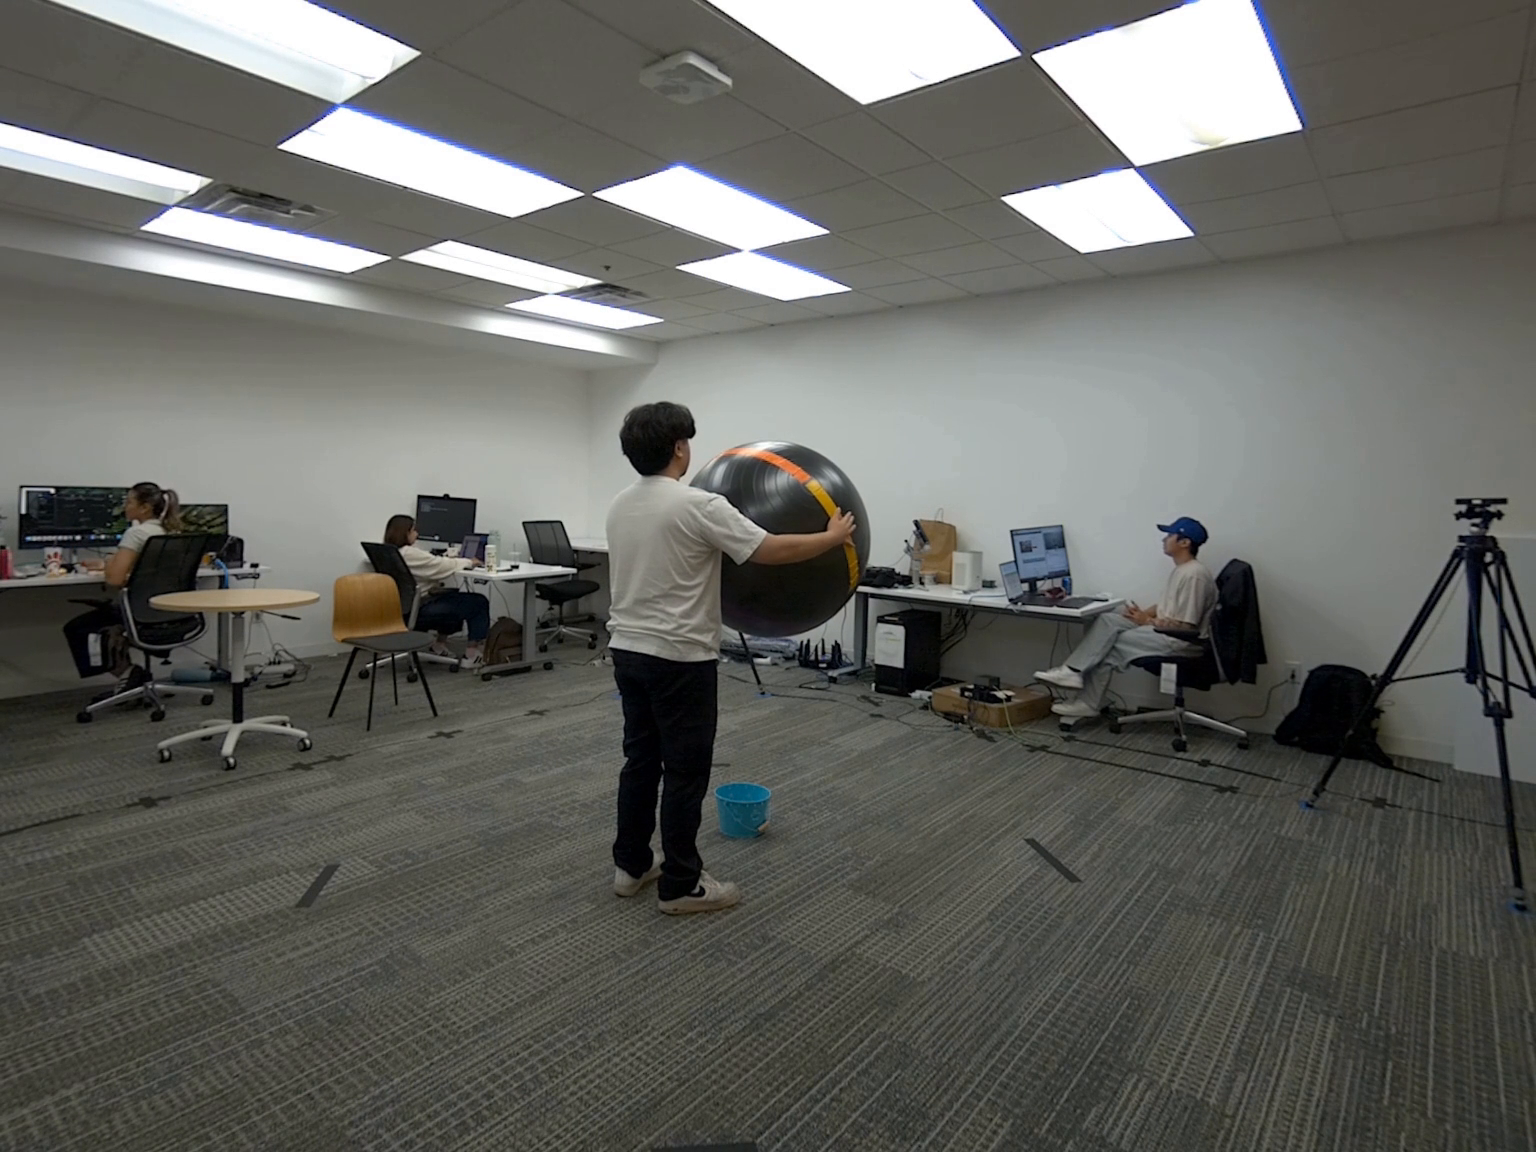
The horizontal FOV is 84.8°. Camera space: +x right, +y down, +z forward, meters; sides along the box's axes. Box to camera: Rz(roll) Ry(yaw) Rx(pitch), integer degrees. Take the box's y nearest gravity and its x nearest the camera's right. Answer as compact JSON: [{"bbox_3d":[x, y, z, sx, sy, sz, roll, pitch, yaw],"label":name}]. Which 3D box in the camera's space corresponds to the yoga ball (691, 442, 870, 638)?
[{"bbox_3d":[0.012,-0.145,3.297,0.757,0.755,0.762,1,4,-2],"label":"yoga ball"}]
